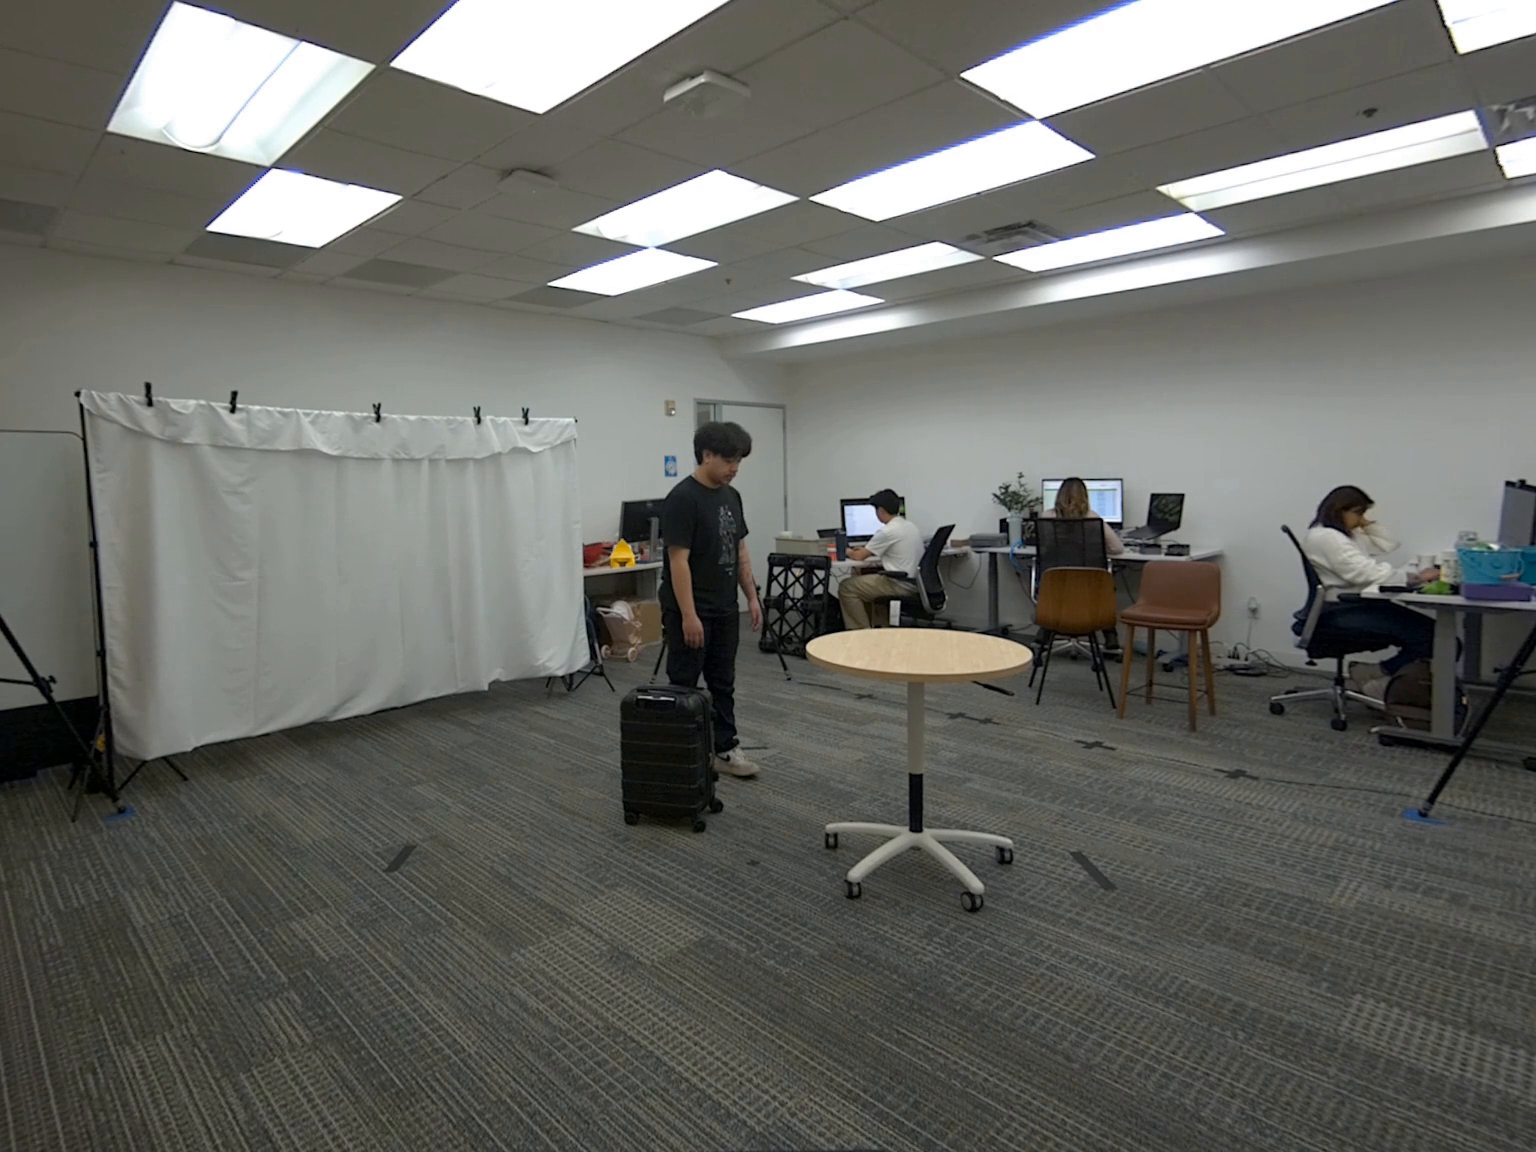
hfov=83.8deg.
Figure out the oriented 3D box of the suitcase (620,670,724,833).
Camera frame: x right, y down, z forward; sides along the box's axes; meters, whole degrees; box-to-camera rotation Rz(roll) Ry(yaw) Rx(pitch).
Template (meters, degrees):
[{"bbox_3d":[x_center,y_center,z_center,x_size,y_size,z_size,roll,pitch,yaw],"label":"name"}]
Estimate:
[{"bbox_3d":[-0.416,0.730,3.529,0.382,0.548,0.245,-1,3,18],"label":"suitcase"}]
